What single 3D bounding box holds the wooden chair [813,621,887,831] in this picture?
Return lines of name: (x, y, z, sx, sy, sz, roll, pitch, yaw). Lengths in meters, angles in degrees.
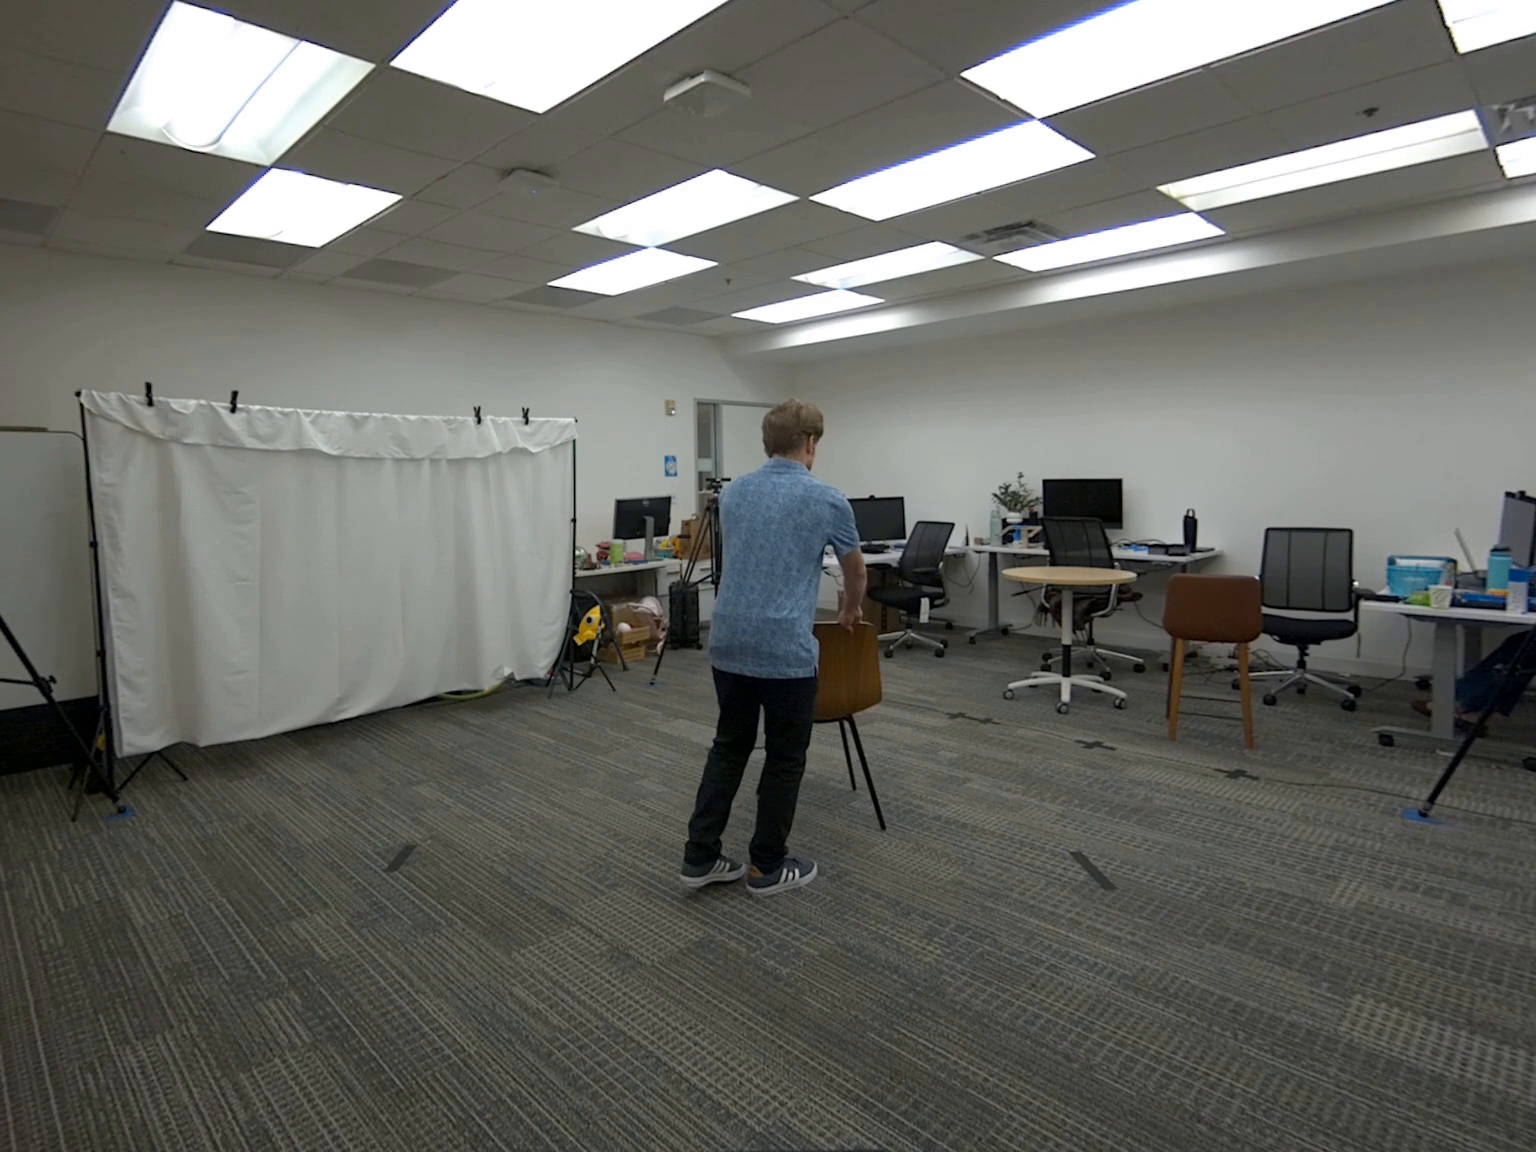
wooden chair: (0.201, 0.564, 3.547, 0.474, 0.871, 0.531, -2, 8, -9)
